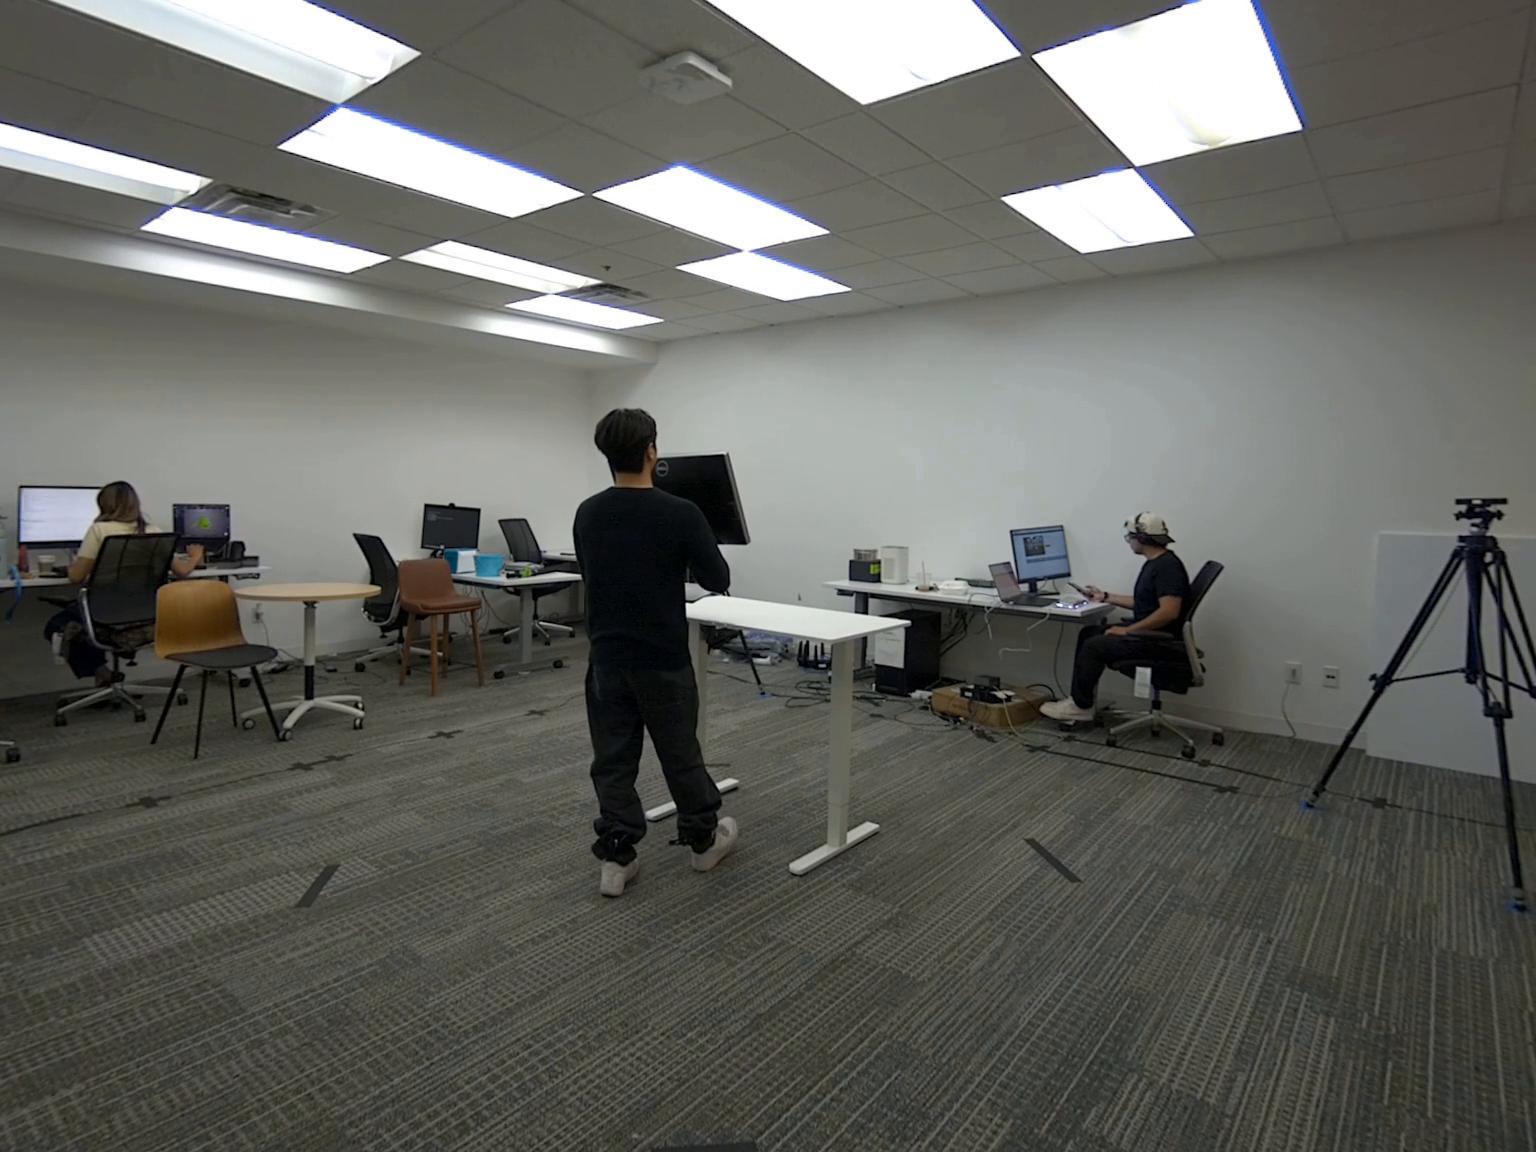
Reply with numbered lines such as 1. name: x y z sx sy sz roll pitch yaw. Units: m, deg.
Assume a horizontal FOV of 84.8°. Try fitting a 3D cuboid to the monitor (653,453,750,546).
1. monitor: -0.357 -0.198 3.221 0.546 0.513 0.170 1 7 34
